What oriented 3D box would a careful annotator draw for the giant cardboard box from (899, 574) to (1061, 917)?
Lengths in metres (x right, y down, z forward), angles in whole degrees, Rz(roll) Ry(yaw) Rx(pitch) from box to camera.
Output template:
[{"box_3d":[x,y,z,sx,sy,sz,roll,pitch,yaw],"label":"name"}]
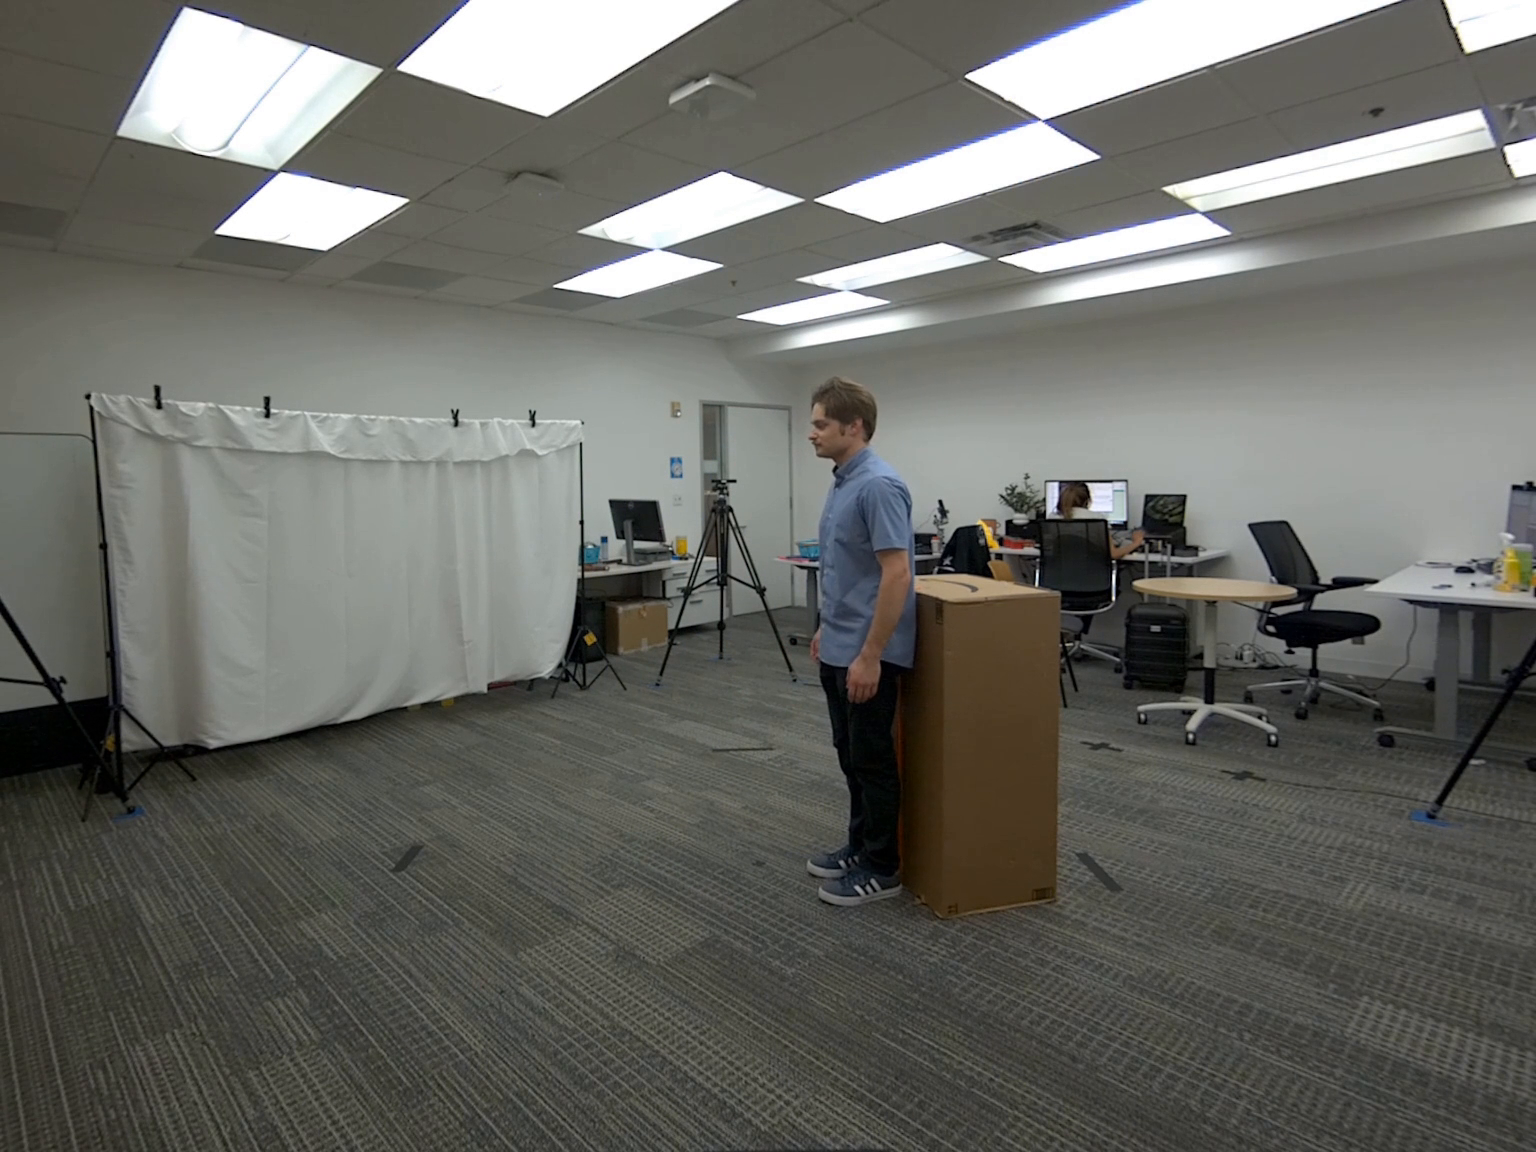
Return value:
[{"box_3d":[0.660,0.544,2.985,0.440,1.023,0.595,-2,5,-18],"label":"giant cardboard box"}]
